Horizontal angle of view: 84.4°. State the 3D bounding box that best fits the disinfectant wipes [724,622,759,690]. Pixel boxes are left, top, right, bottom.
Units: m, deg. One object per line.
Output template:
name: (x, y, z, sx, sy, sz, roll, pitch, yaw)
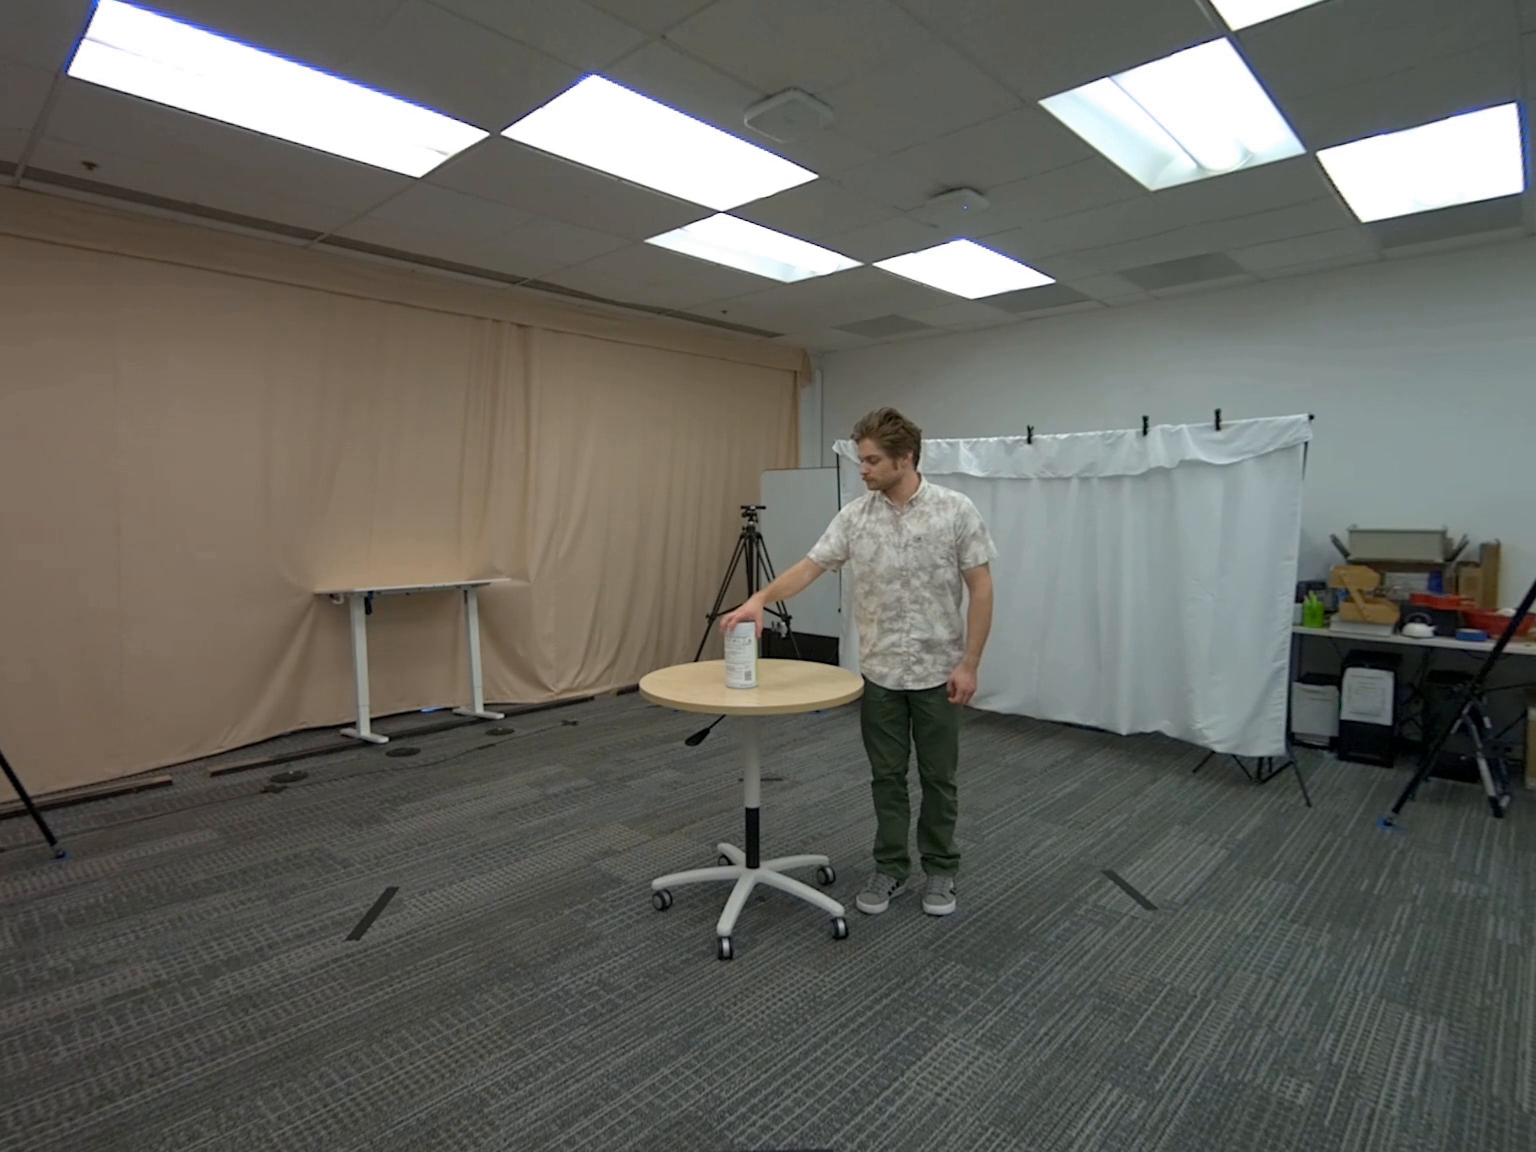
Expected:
disinfectant wipes: (-0.078, 0.264, 2.792, 0.117, 0.217, 0.118, 2, 2, -2)
